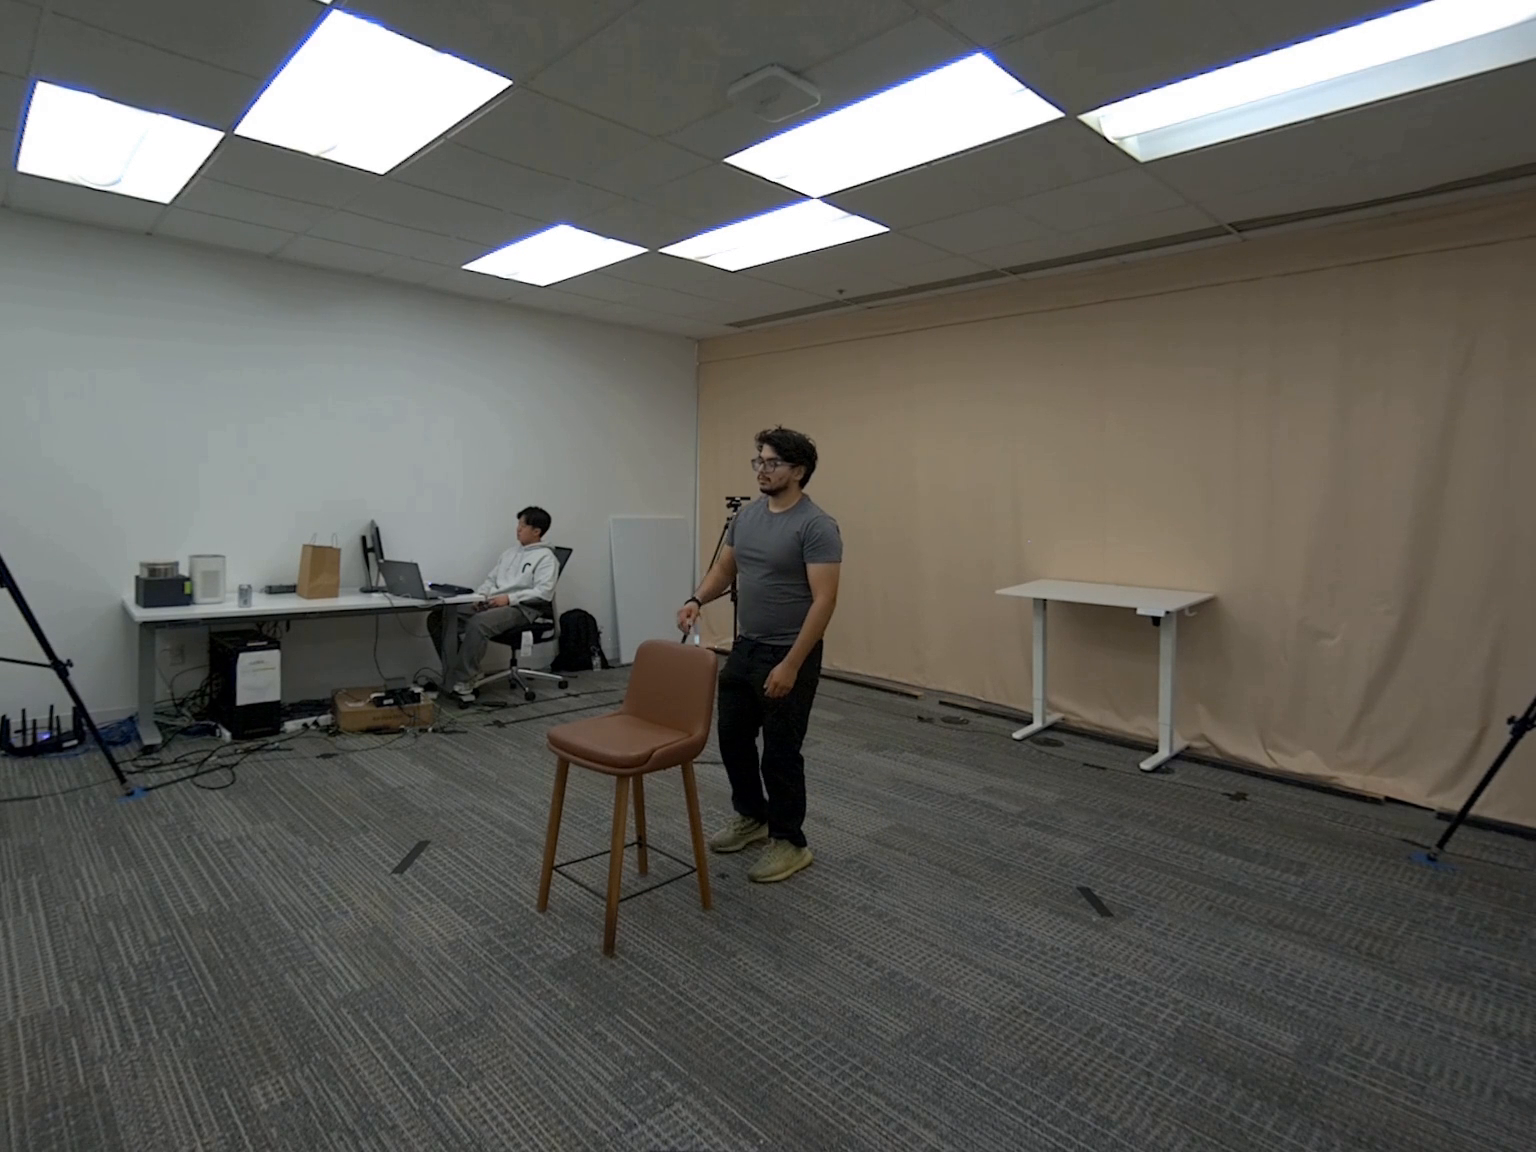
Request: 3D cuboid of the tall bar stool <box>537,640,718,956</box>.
[{"bbox_3d":[-0.465,0.691,2.812,0.468,0.889,0.456,4,3,45],"label":"tall bar stool"}]
